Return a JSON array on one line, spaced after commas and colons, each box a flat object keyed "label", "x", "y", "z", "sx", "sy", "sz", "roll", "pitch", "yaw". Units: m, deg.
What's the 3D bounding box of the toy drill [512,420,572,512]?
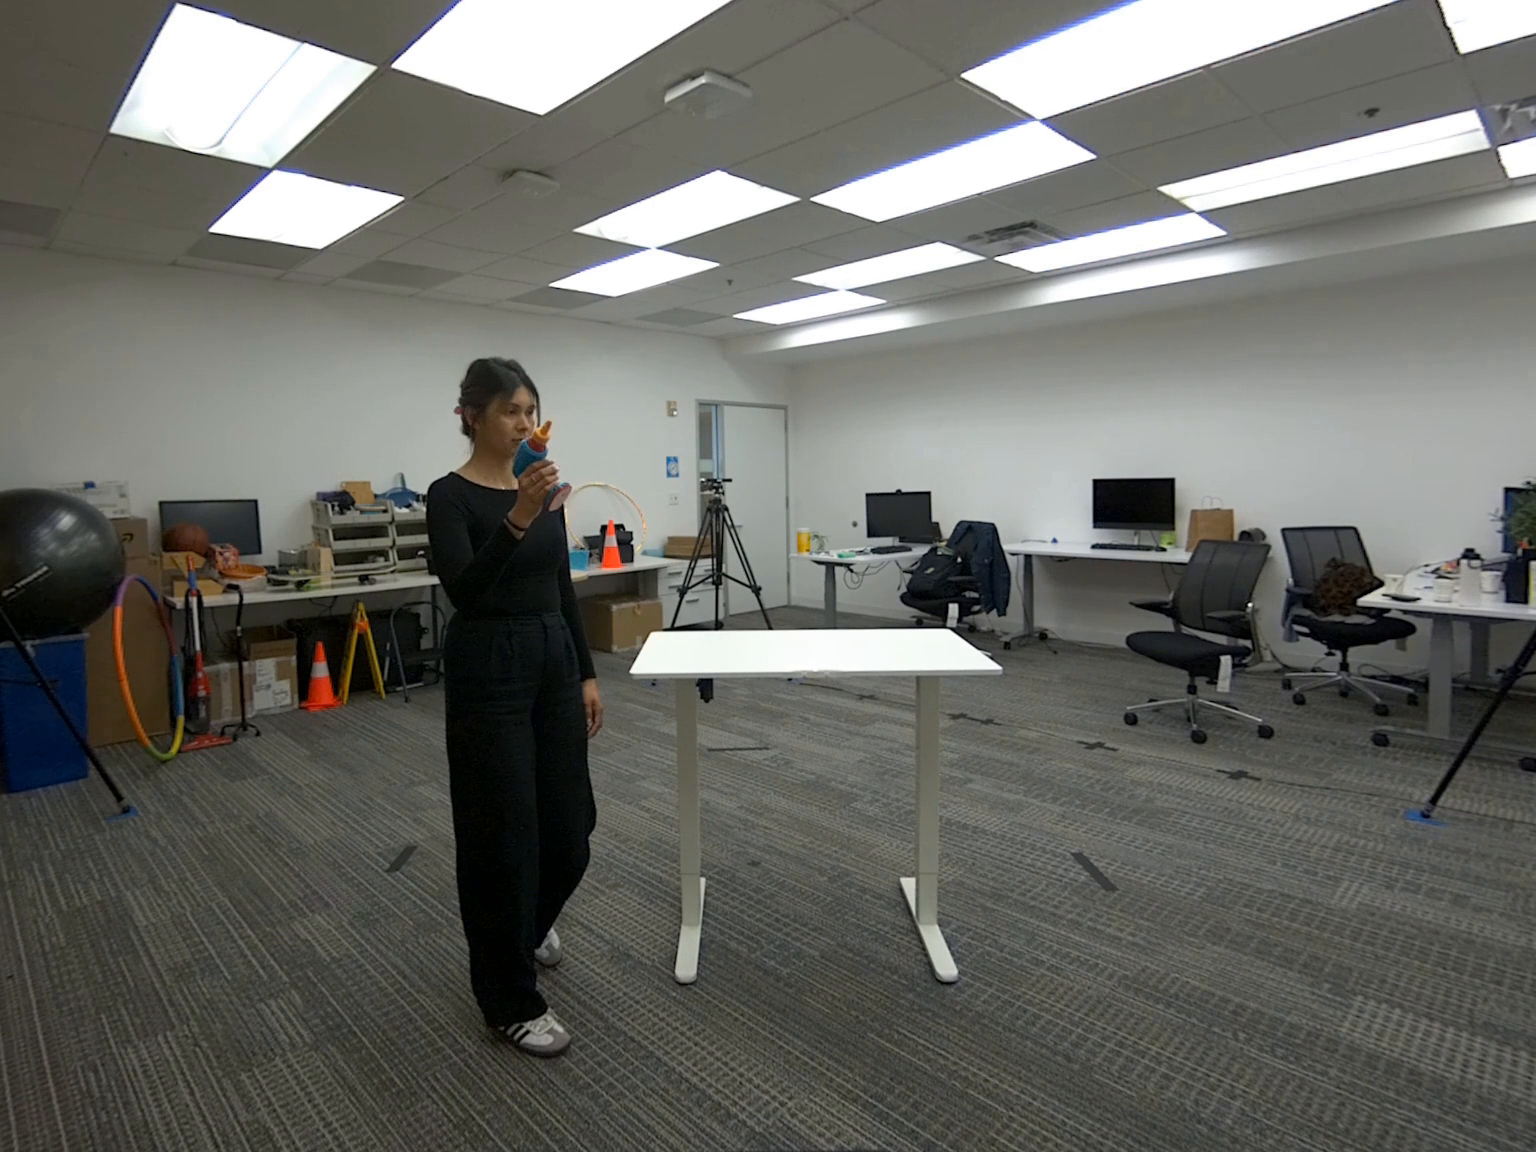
[{"label": "toy drill", "x": -0.456, "y": -0.236, "z": 1.772, "sx": 0.169, "sy": 0.148, "sz": 0.060, "roll": -51, "pitch": -11, "yaw": 31}]
